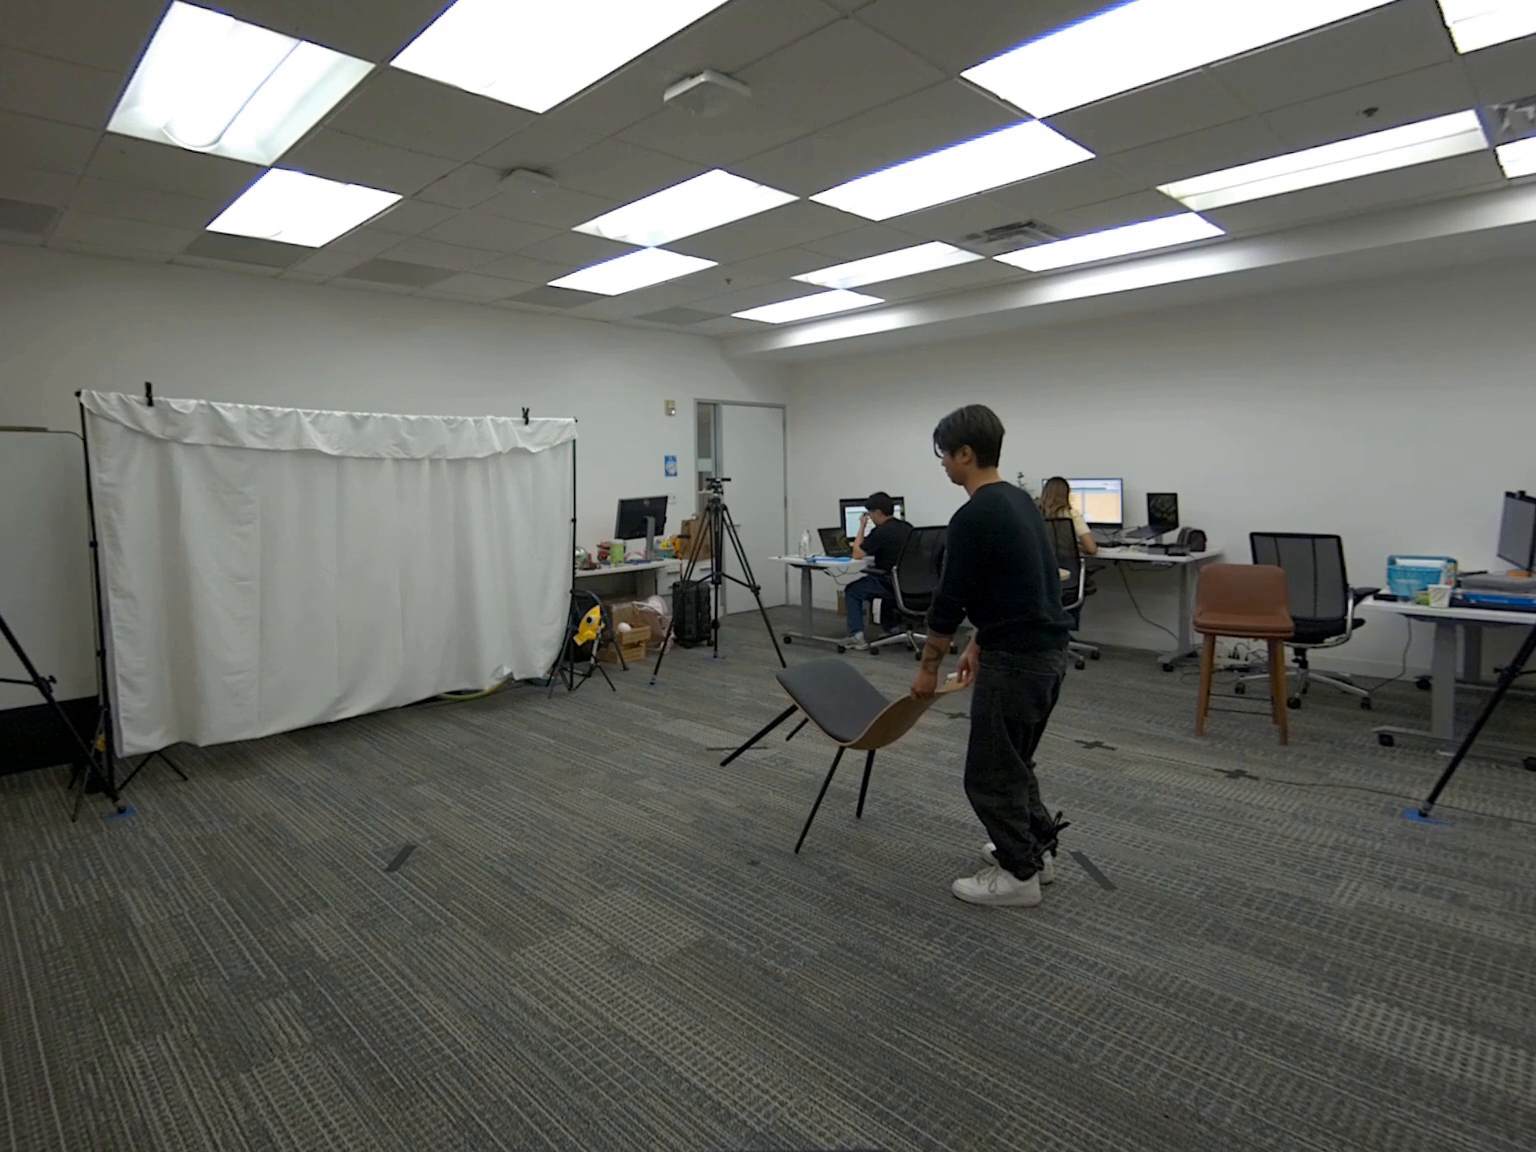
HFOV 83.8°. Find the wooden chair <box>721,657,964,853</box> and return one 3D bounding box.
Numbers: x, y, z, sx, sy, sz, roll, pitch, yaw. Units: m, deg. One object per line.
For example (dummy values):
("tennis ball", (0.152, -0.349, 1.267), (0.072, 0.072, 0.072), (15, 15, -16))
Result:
("wooden chair", (0.275, 0.533, 3.273), (0.466, 0.872, 0.540), (-6, 47, -50))
